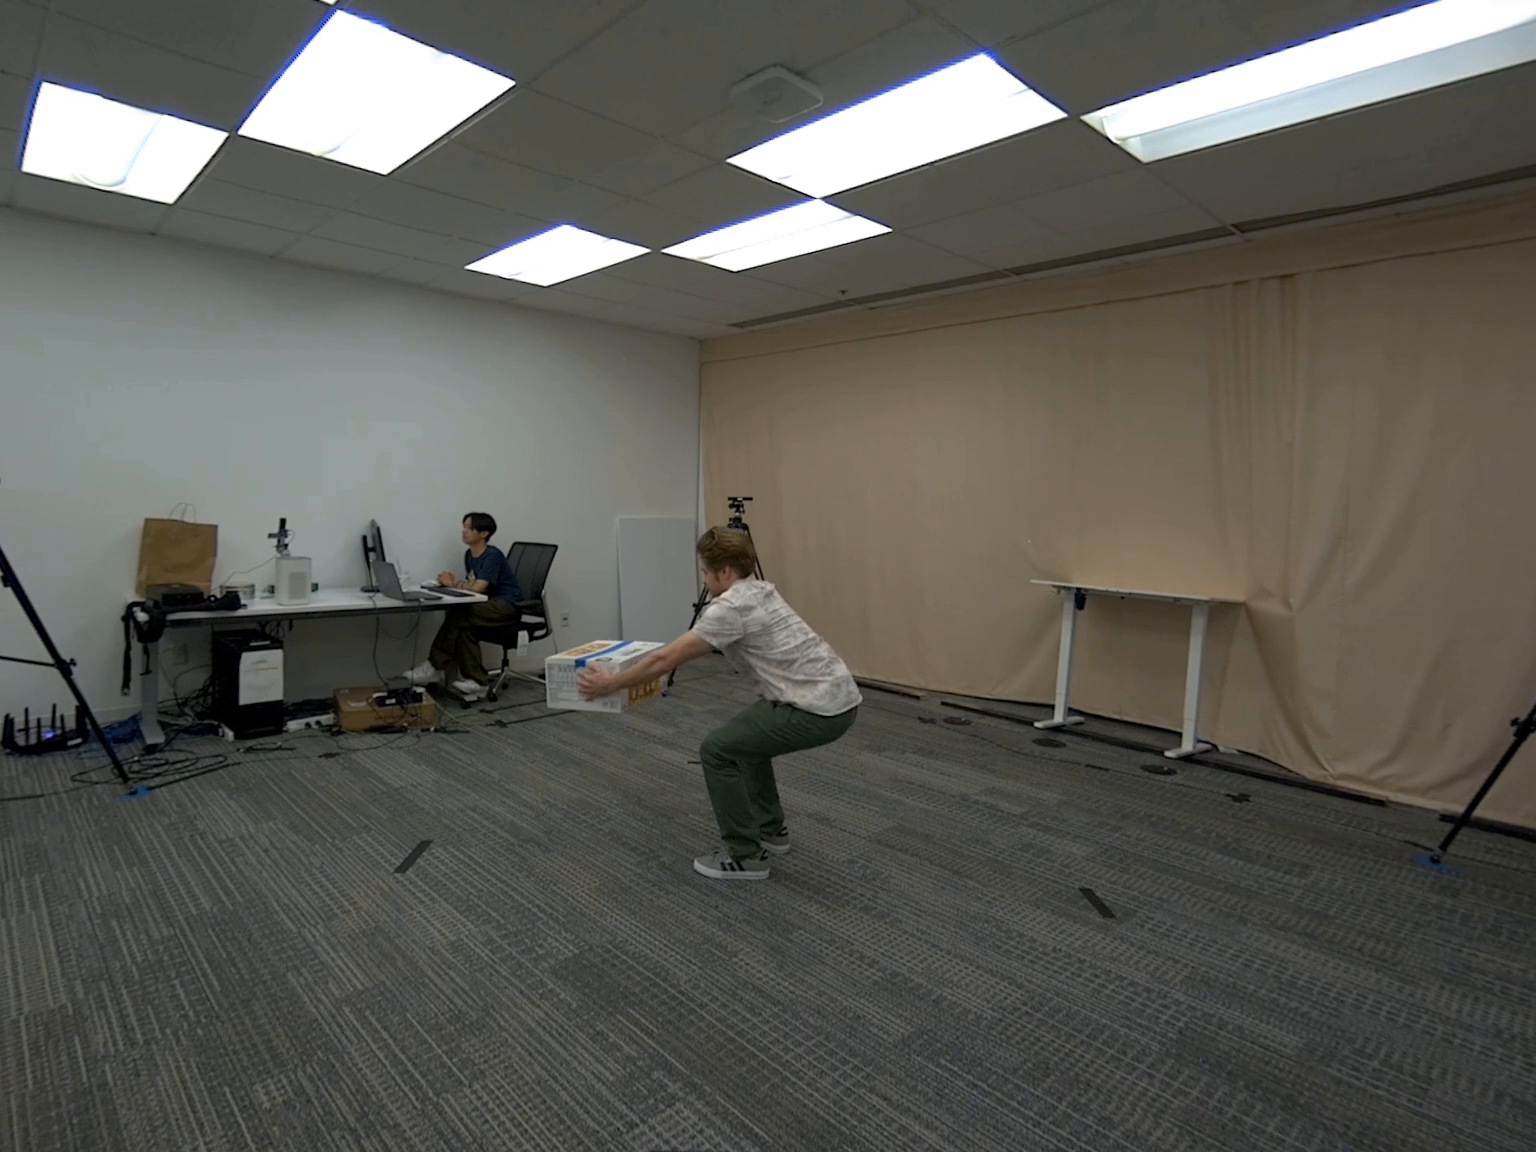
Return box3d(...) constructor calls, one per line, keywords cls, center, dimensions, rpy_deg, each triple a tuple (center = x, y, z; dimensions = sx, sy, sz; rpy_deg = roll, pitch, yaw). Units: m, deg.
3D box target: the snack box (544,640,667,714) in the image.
box3d(cls="snack box", center=(-0.660, 0.407, 3.473), dimensions=(0.346, 0.205, 0.400), rpy_deg=(0, 6, 21))
